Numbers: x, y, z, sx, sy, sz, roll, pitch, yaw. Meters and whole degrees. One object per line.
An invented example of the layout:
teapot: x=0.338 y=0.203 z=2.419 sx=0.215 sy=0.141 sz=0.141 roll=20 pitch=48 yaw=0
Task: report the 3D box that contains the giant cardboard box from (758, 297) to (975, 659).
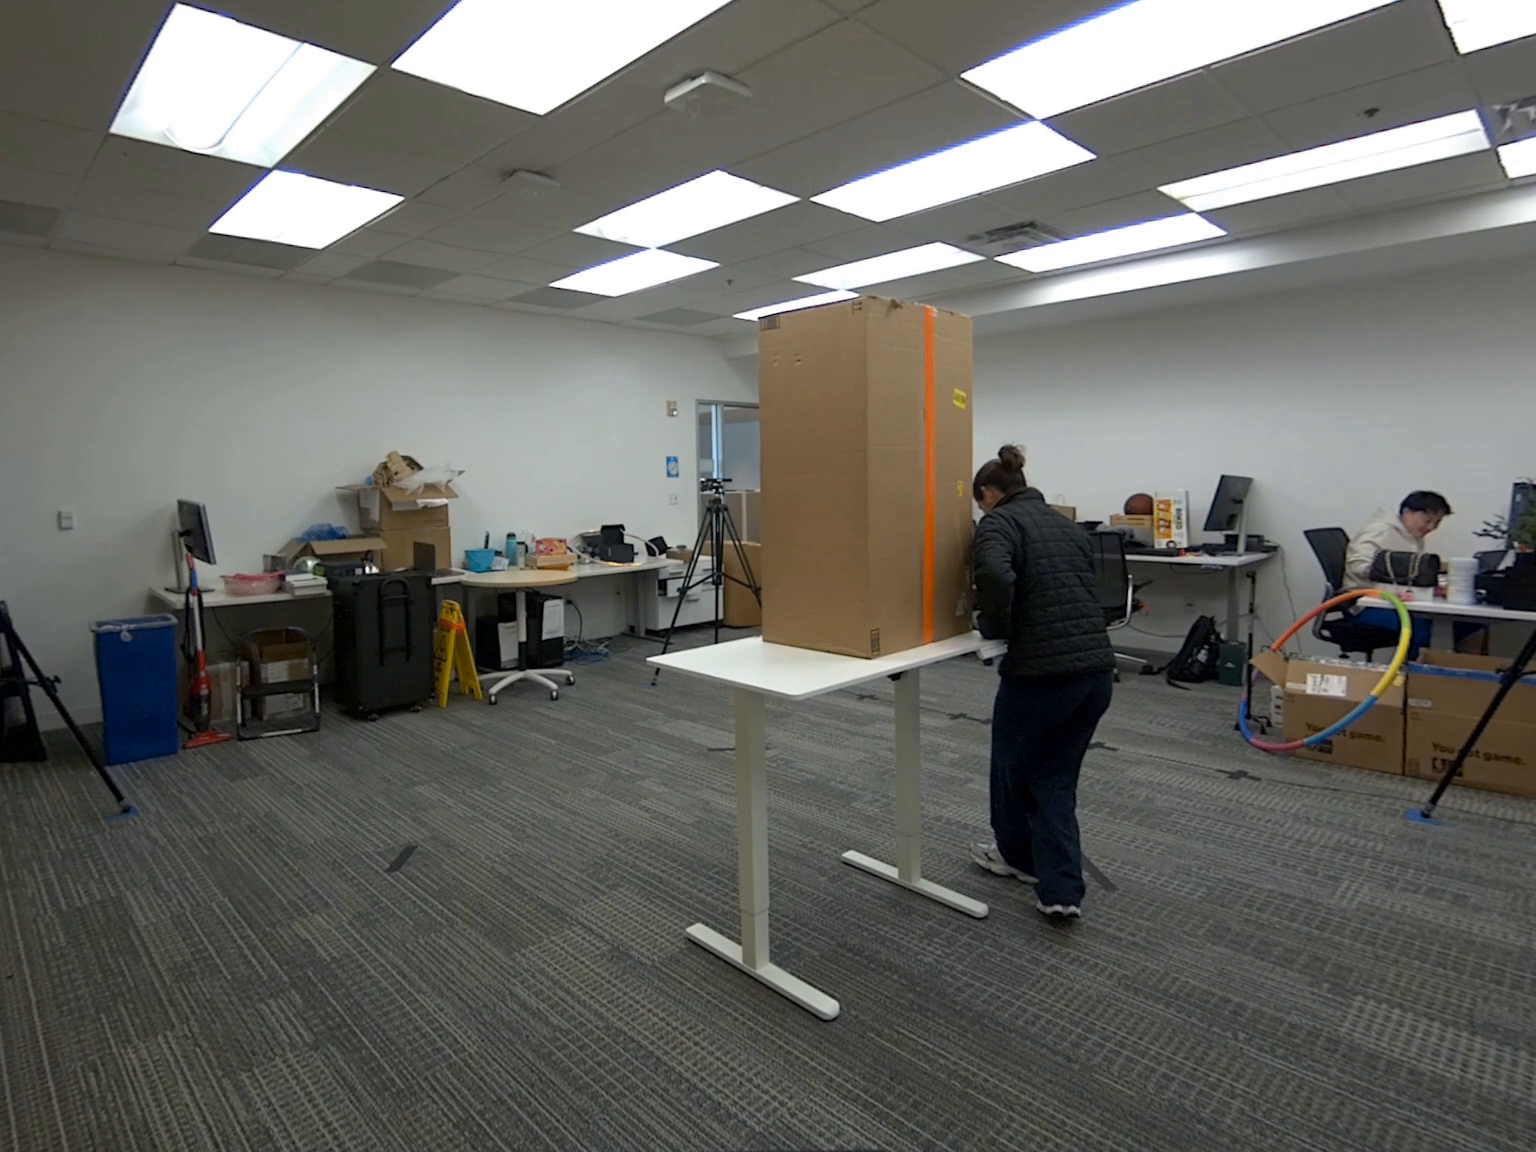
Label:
giant cardboard box: x=0.322 y=-0.310 z=2.737 sx=0.439 sy=1.022 sz=0.562 roll=3 pitch=6 yaw=44
